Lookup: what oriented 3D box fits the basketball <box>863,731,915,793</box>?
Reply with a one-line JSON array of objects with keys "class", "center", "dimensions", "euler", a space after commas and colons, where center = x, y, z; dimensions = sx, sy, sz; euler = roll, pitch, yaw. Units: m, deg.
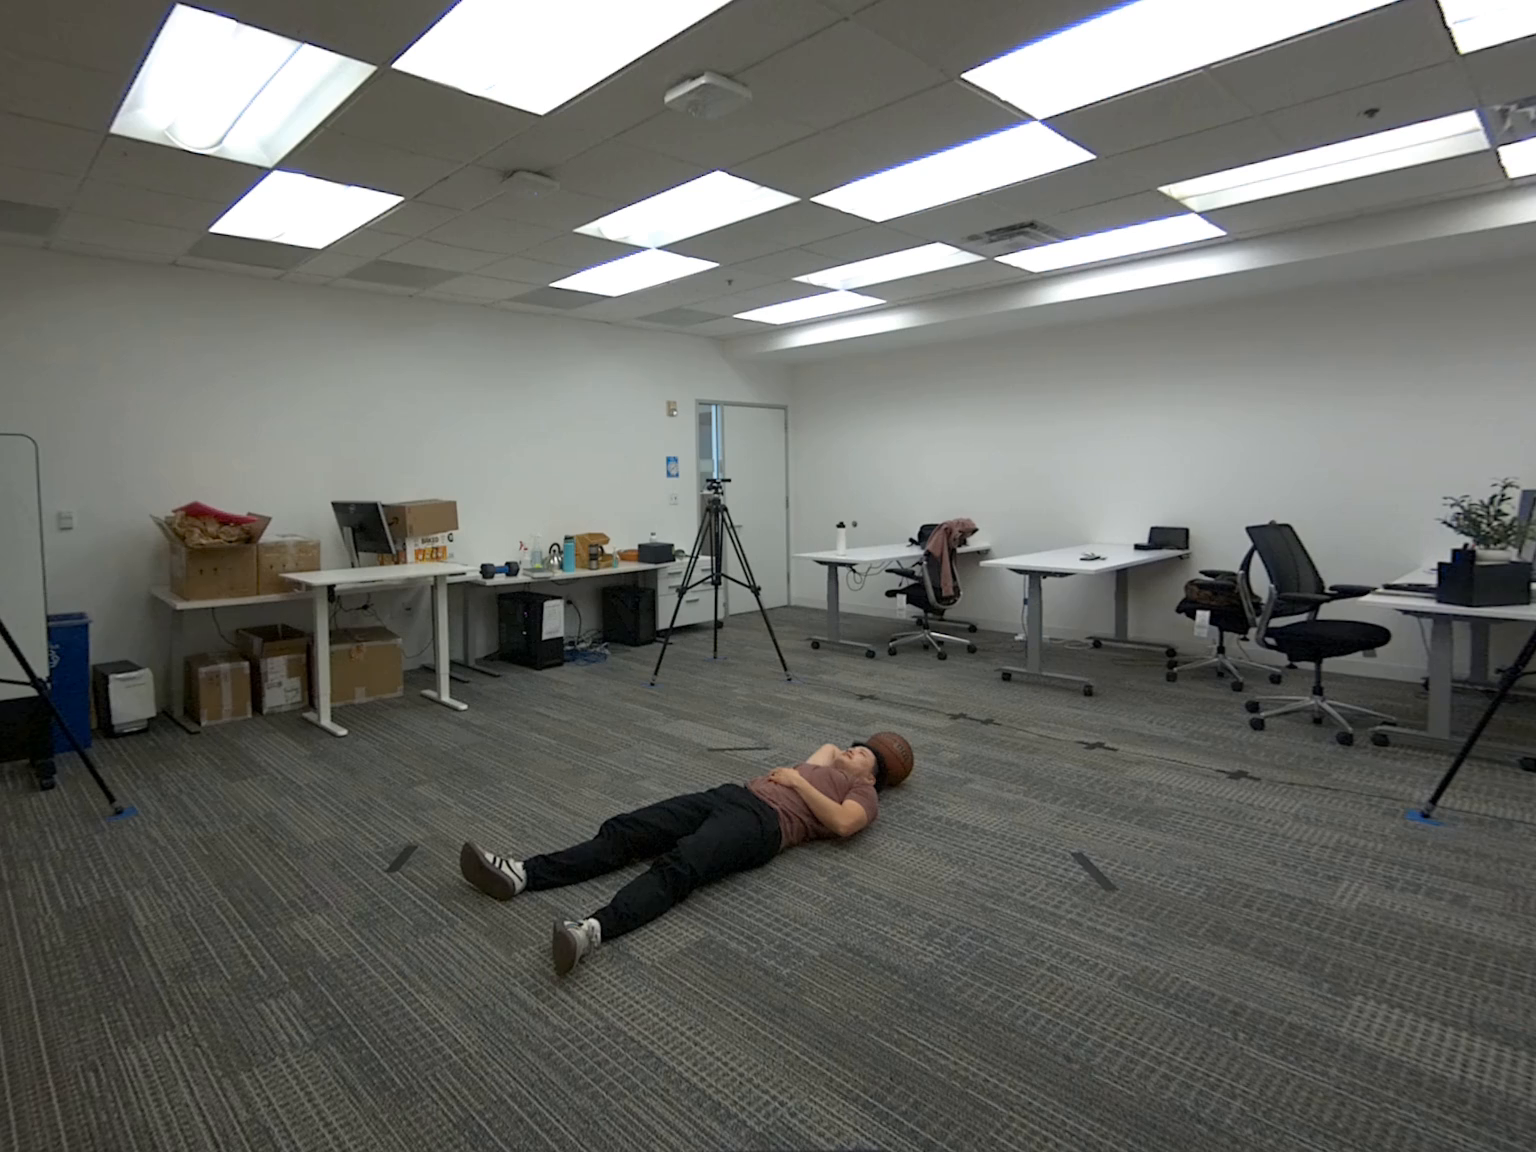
[{"class": "basketball", "center": [0.542, 0.824, 3.888], "dimensions": [0.236, 0.235, 0.237], "euler": [-2, 5, -2]}]
